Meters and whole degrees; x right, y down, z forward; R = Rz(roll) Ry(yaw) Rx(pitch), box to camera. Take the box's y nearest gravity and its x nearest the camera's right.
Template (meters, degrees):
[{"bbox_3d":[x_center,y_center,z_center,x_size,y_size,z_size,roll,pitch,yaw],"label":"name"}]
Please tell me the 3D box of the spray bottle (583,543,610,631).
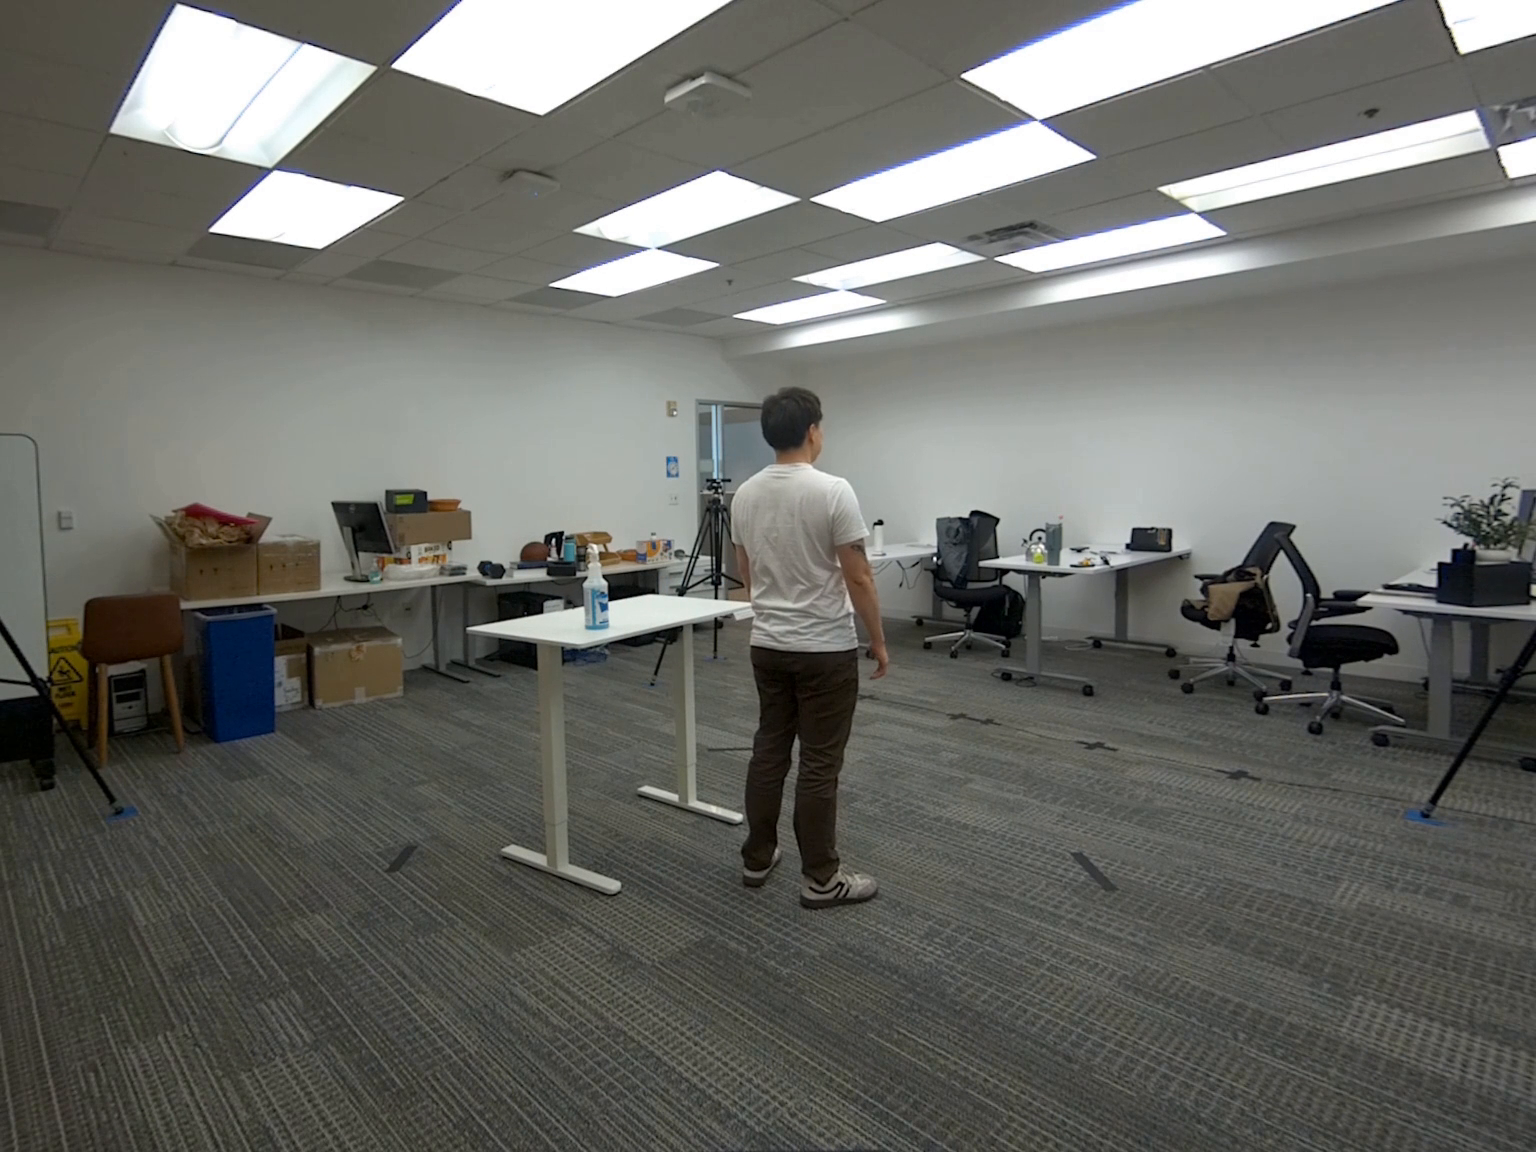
[{"bbox_3d":[-0.607,0.037,3.017,0.087,0.297,0.090,-1,2,4],"label":"spray bottle"}]
